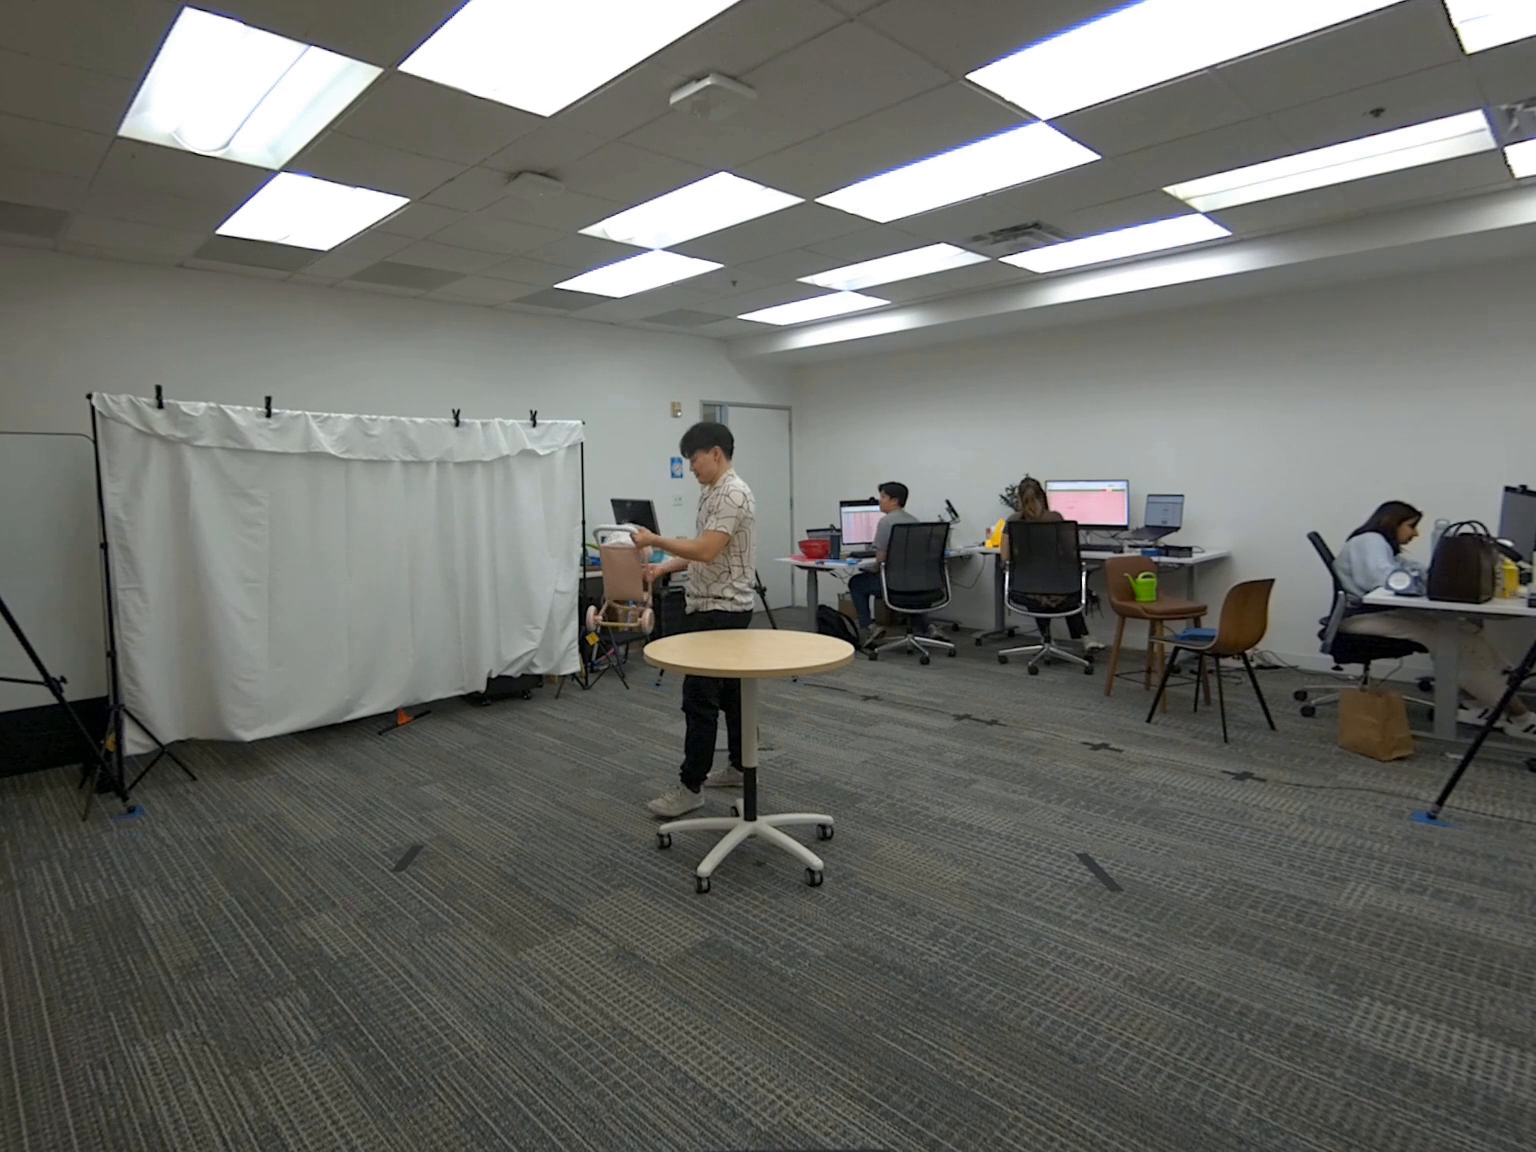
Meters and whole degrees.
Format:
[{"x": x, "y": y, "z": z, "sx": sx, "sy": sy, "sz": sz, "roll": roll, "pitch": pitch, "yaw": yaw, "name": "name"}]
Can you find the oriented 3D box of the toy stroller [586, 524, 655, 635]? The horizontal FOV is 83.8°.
[{"x": -0.622, "y": 0.007, "z": 3.756, "sx": 0.285, "sy": 0.528, "sz": 0.342, "roll": 3, "pitch": 14, "yaw": 10, "name": "toy stroller"}]
